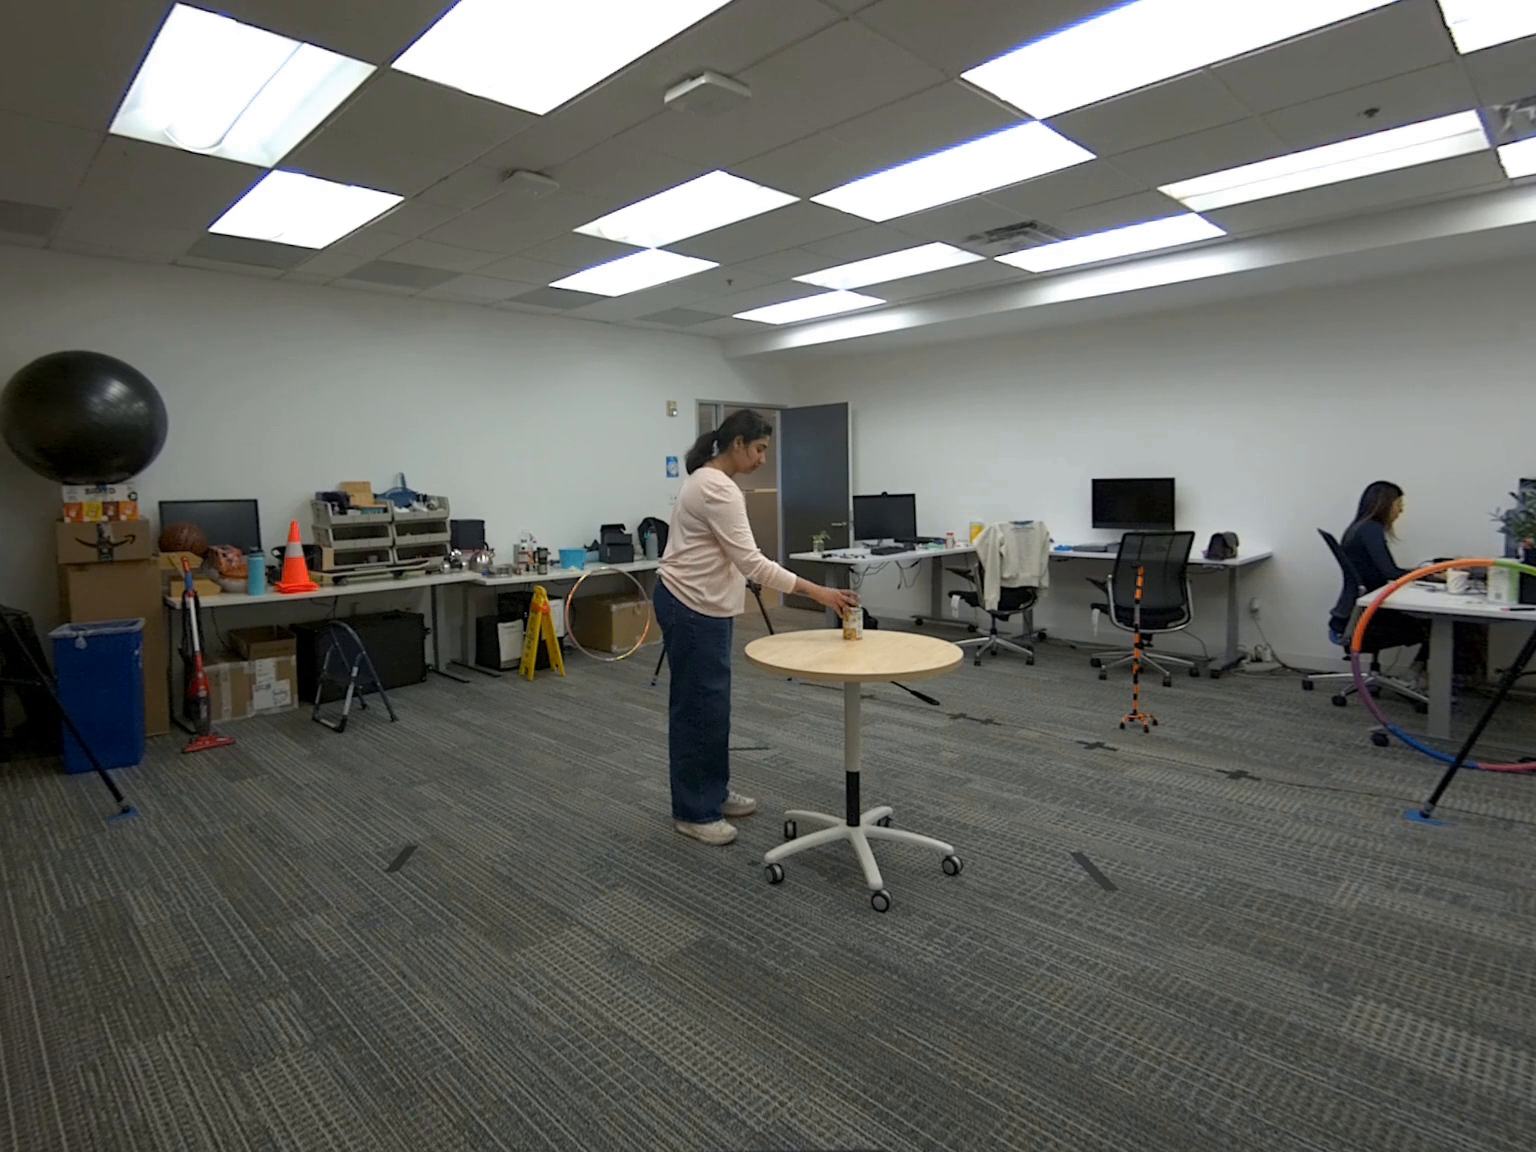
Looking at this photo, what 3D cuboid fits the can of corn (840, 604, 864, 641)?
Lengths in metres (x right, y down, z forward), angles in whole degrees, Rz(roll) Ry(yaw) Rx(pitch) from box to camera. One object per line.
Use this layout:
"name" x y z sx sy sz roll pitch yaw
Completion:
"can of corn" 0.316 0.181 3.227 0.074 0.110 0.075 0 6 -2
